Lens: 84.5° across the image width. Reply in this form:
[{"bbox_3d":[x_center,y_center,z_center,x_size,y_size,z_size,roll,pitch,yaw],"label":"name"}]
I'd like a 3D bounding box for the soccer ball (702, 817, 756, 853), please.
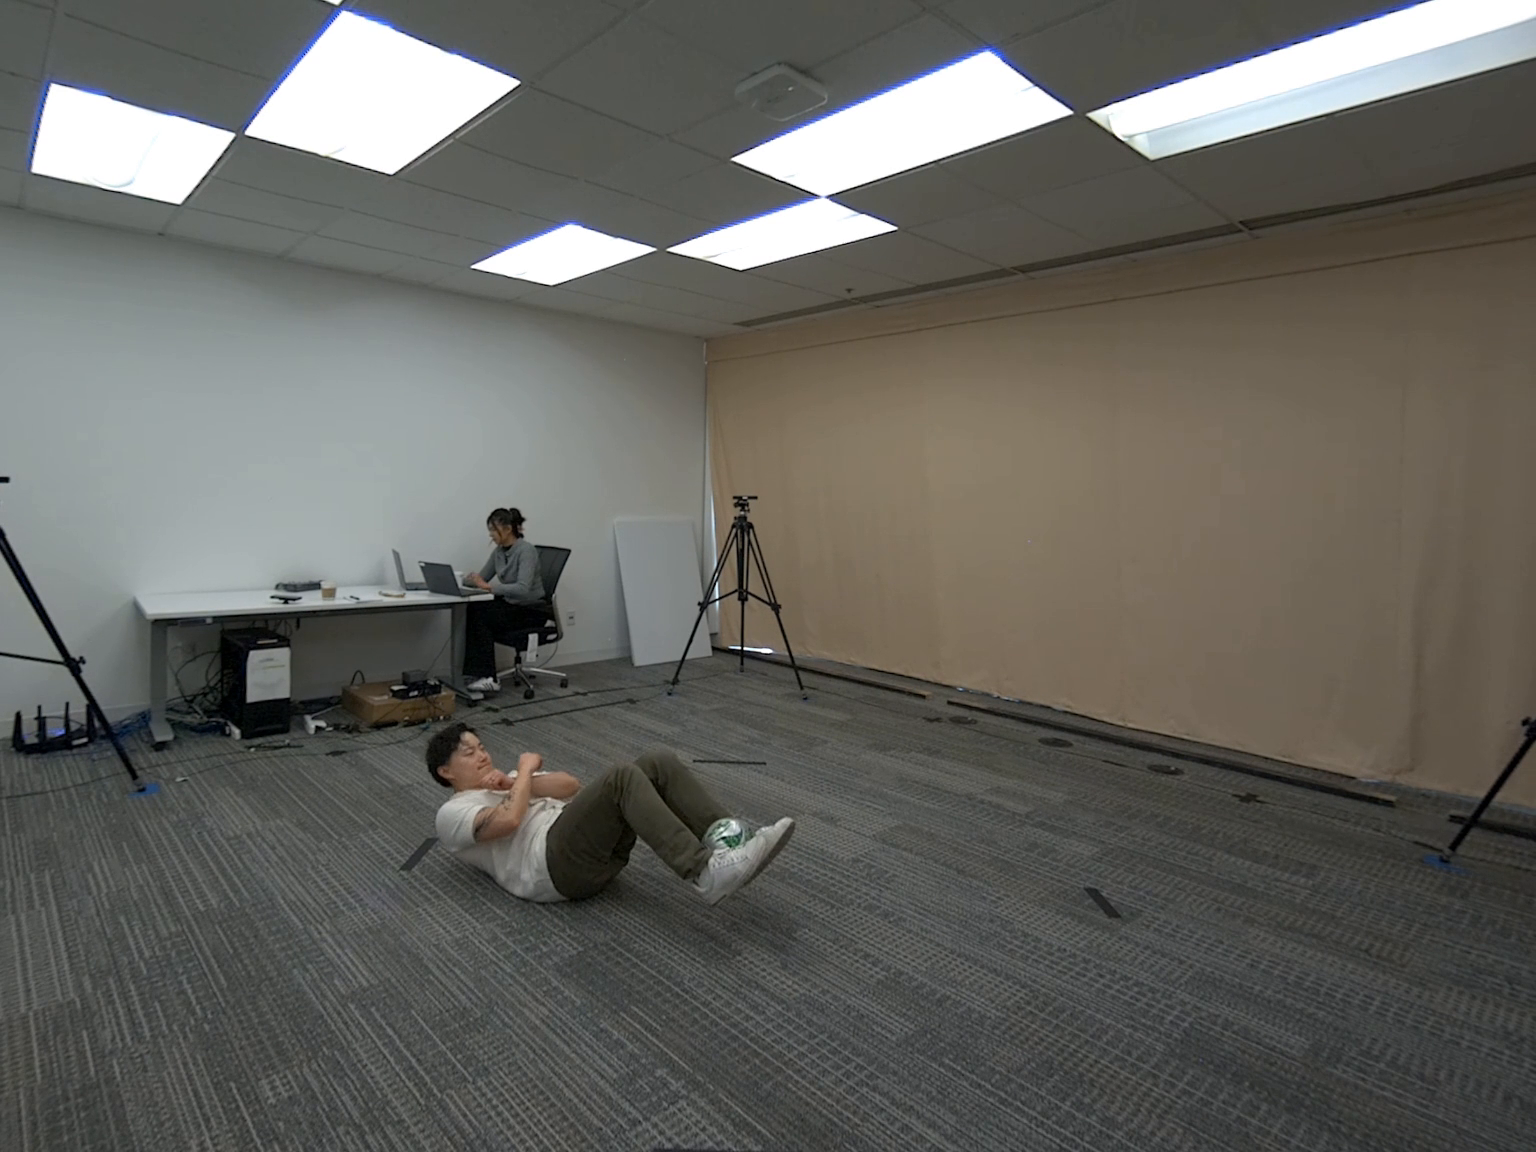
[{"bbox_3d":[-0.134,0.884,2.703,0.187,0.187,0.188,1,4,-1],"label":"soccer ball"}]
